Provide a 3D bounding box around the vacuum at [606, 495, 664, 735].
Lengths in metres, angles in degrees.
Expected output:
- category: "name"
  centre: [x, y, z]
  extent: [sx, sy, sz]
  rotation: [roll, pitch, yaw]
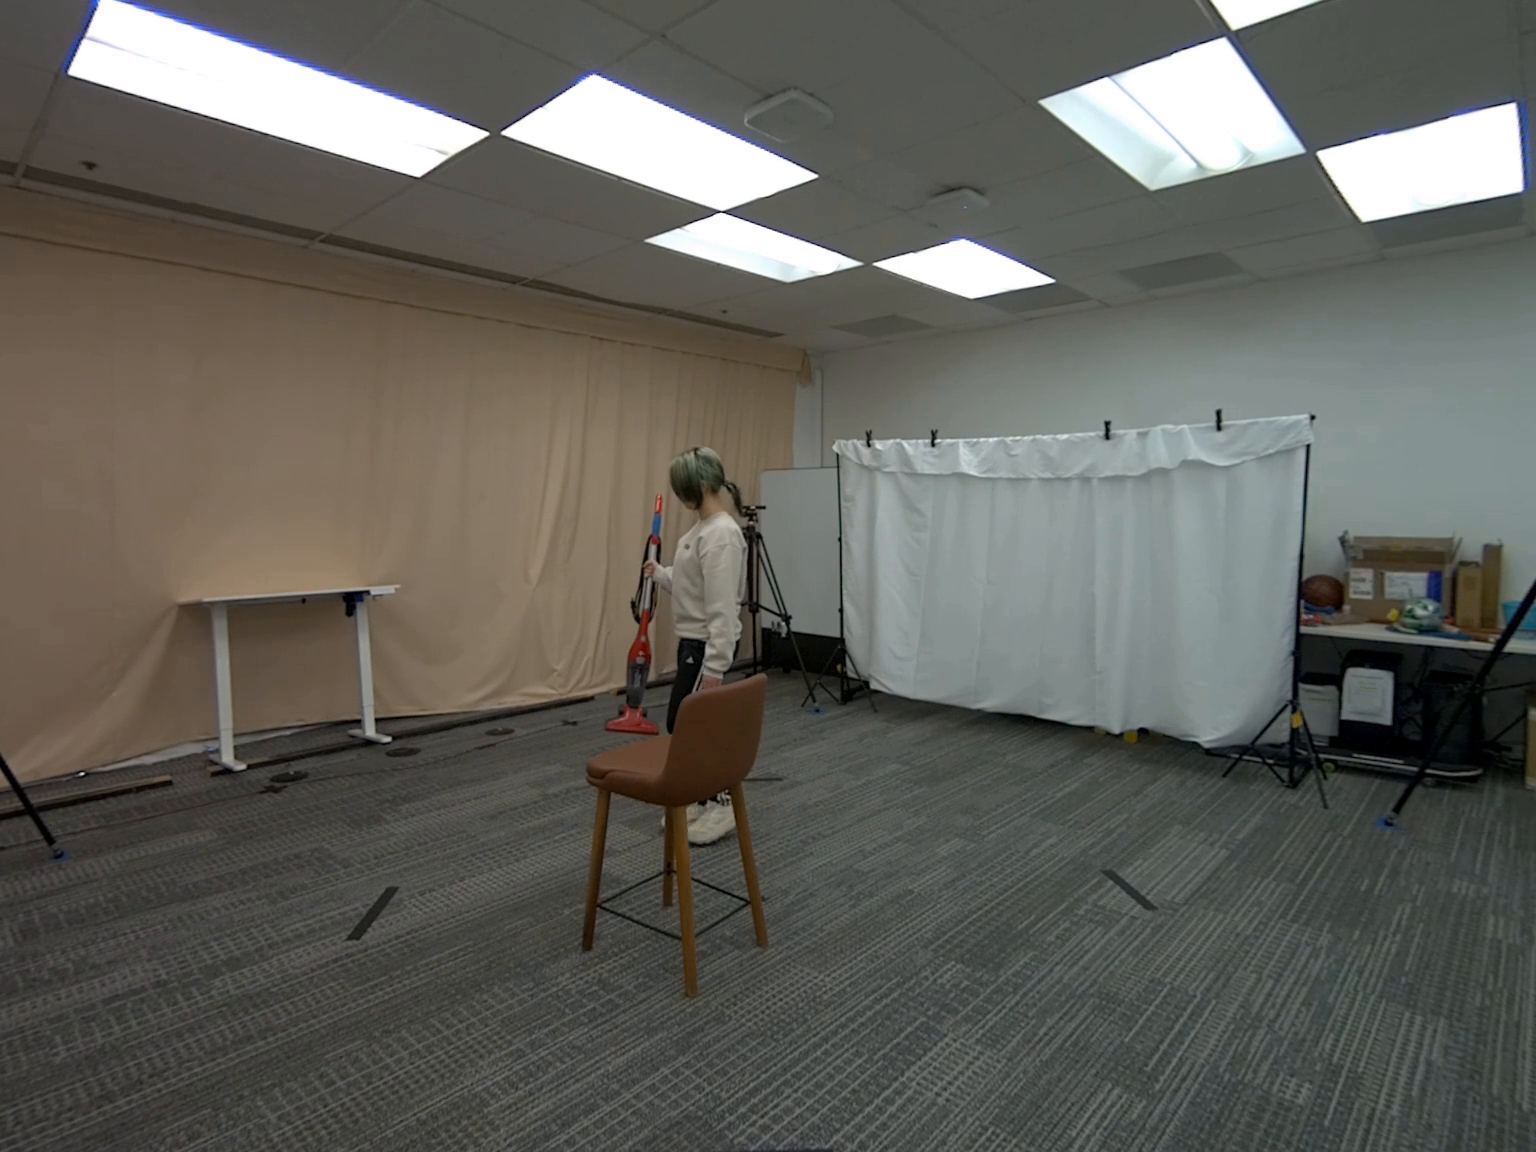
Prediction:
- category: "vacuum"
  centre: [-0.564, 0.150, 3.920]
  extent: [0.248, 1.052, 0.146]
  rotation: [6, -5, -16]
